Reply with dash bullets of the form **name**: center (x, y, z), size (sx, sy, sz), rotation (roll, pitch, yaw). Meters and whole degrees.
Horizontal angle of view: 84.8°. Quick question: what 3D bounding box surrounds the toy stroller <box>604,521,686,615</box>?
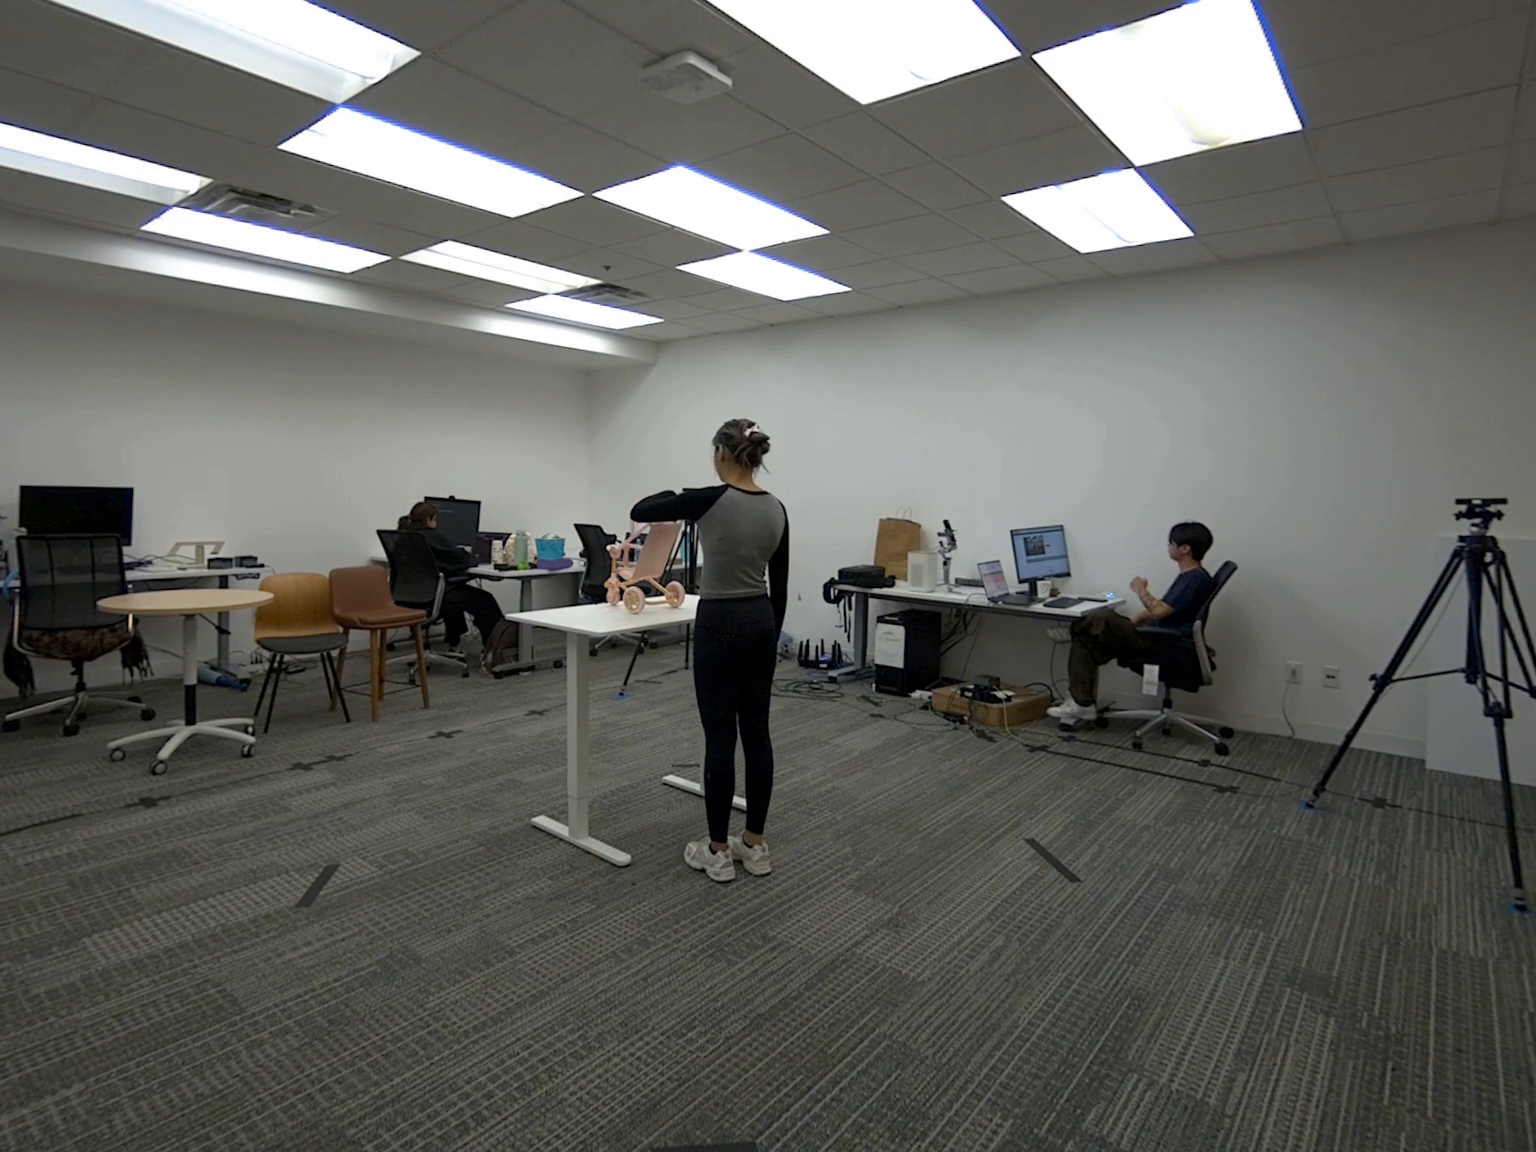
- **toy stroller**: center (-0.528, -0.087, 3.569), size (0.355, 0.530, 0.273), rotation (22, 15, 39)
